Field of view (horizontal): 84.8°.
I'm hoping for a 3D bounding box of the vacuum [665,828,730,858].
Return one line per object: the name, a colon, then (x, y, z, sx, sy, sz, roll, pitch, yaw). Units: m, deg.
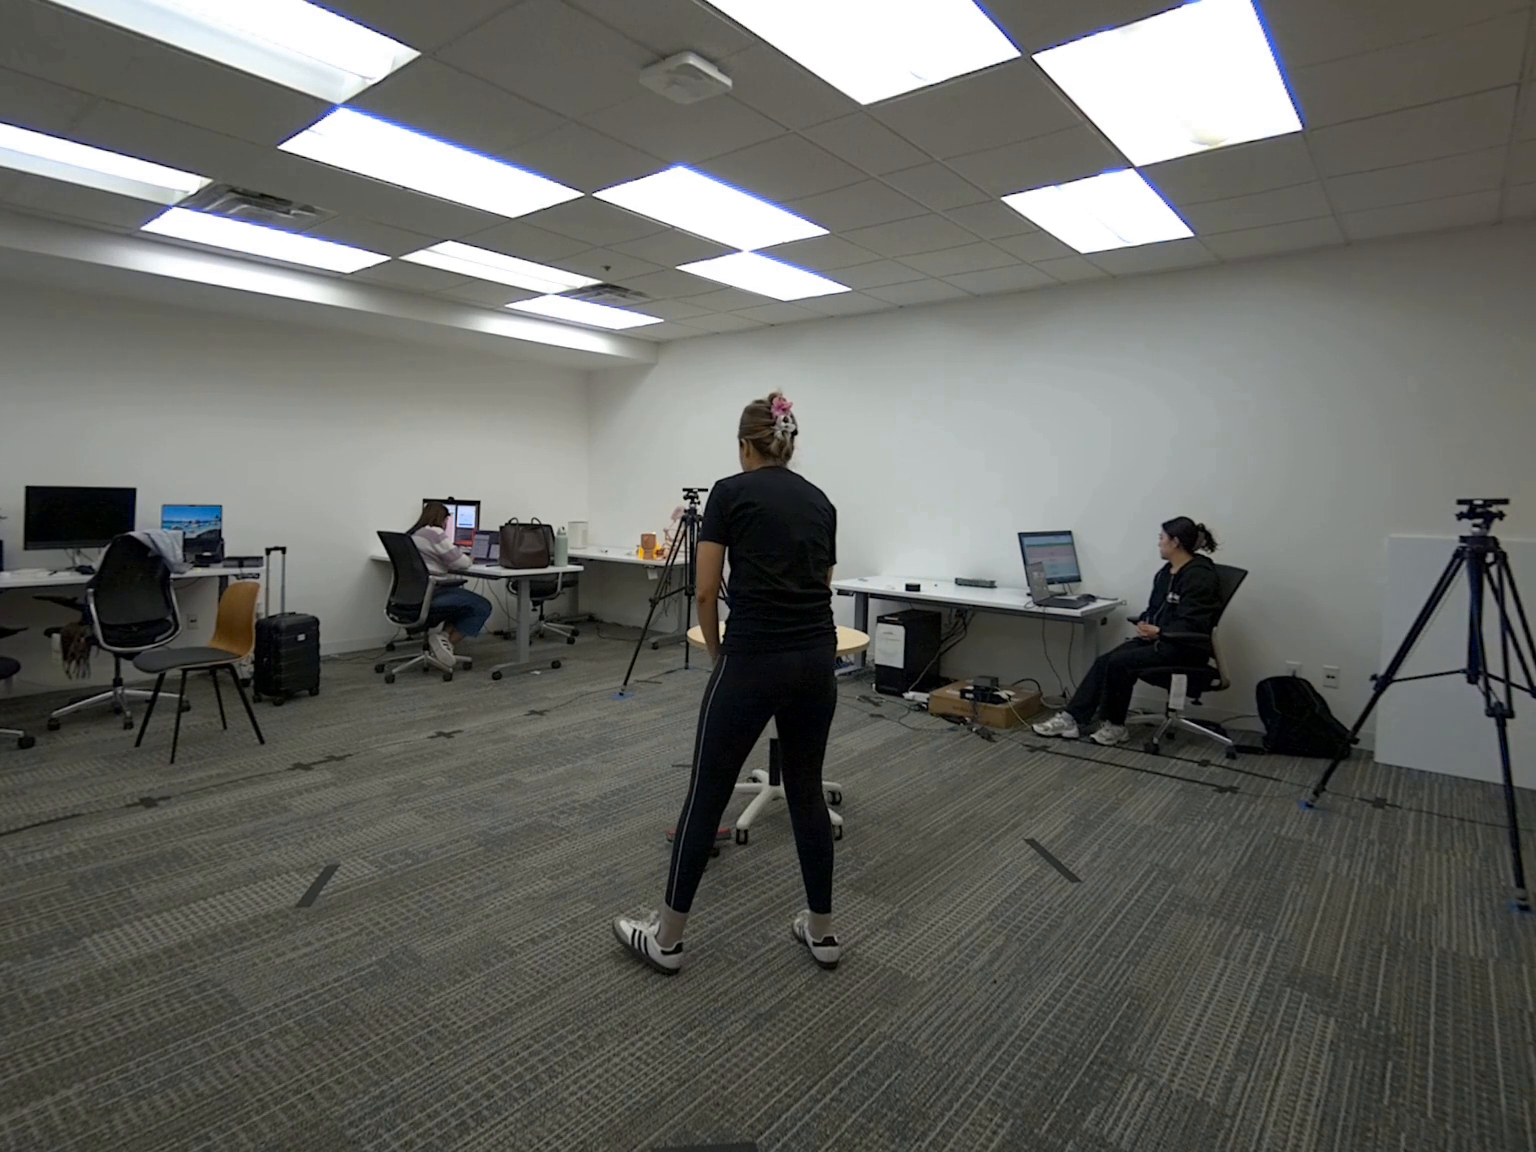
vacuum: (-0.202, 0.685, 2.899, 0.250, 0.149, 1.025, -2, -41, -12)
